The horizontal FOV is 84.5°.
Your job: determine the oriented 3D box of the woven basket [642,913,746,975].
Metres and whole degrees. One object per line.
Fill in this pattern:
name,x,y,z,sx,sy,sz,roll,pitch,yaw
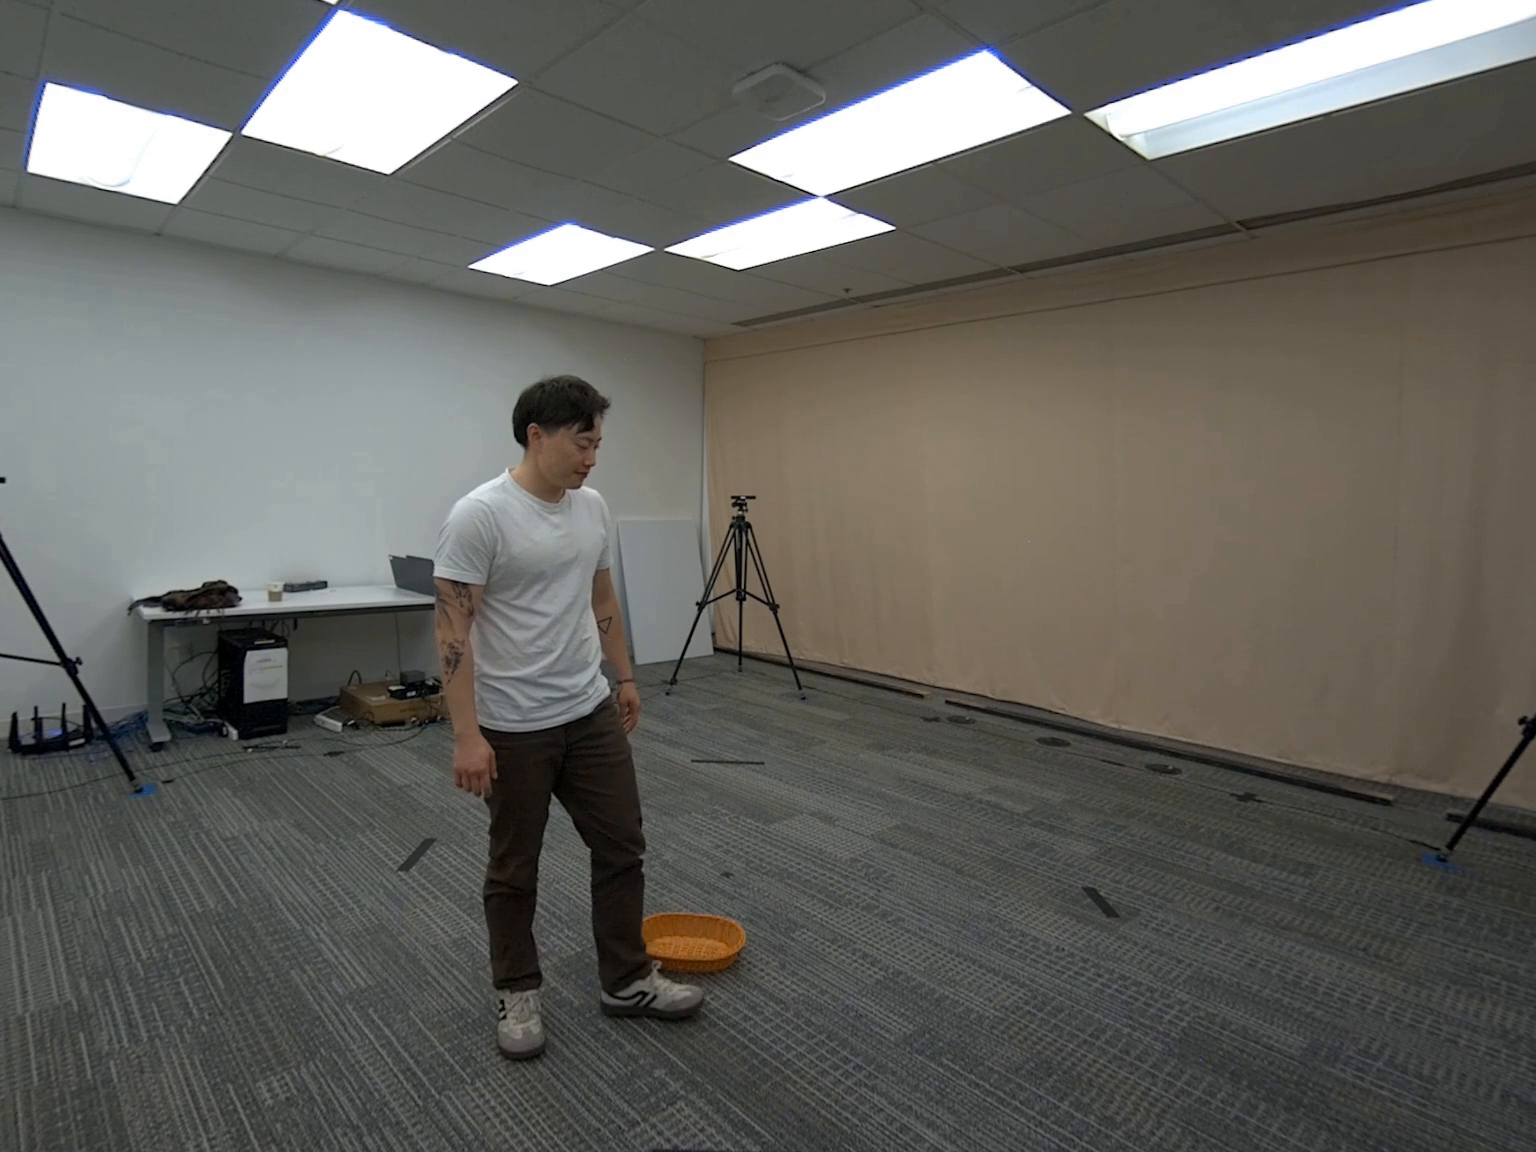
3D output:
woven basket,-0.247,1.114,2.539,0.352,0.073,0.252,1,6,6
